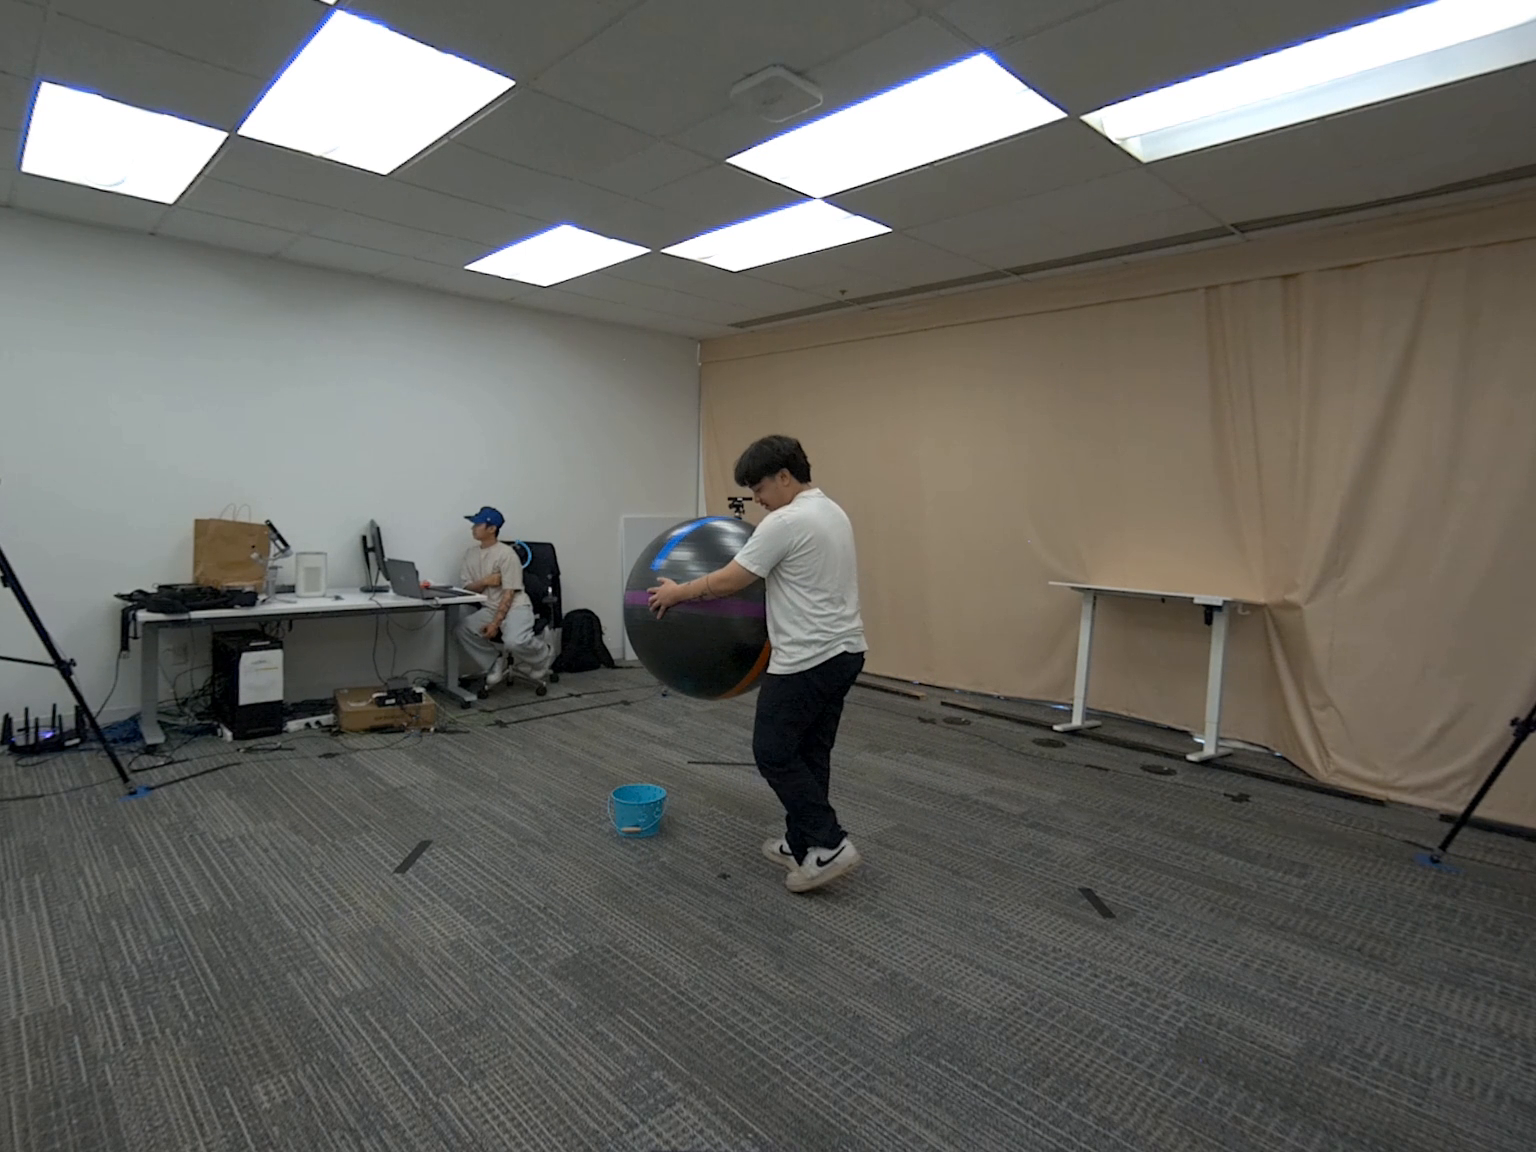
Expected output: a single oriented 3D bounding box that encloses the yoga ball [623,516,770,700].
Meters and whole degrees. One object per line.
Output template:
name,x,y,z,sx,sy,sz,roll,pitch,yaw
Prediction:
yoga ball,-0.232,0.132,3.534,0.757,0.756,0.761,1,4,-1
